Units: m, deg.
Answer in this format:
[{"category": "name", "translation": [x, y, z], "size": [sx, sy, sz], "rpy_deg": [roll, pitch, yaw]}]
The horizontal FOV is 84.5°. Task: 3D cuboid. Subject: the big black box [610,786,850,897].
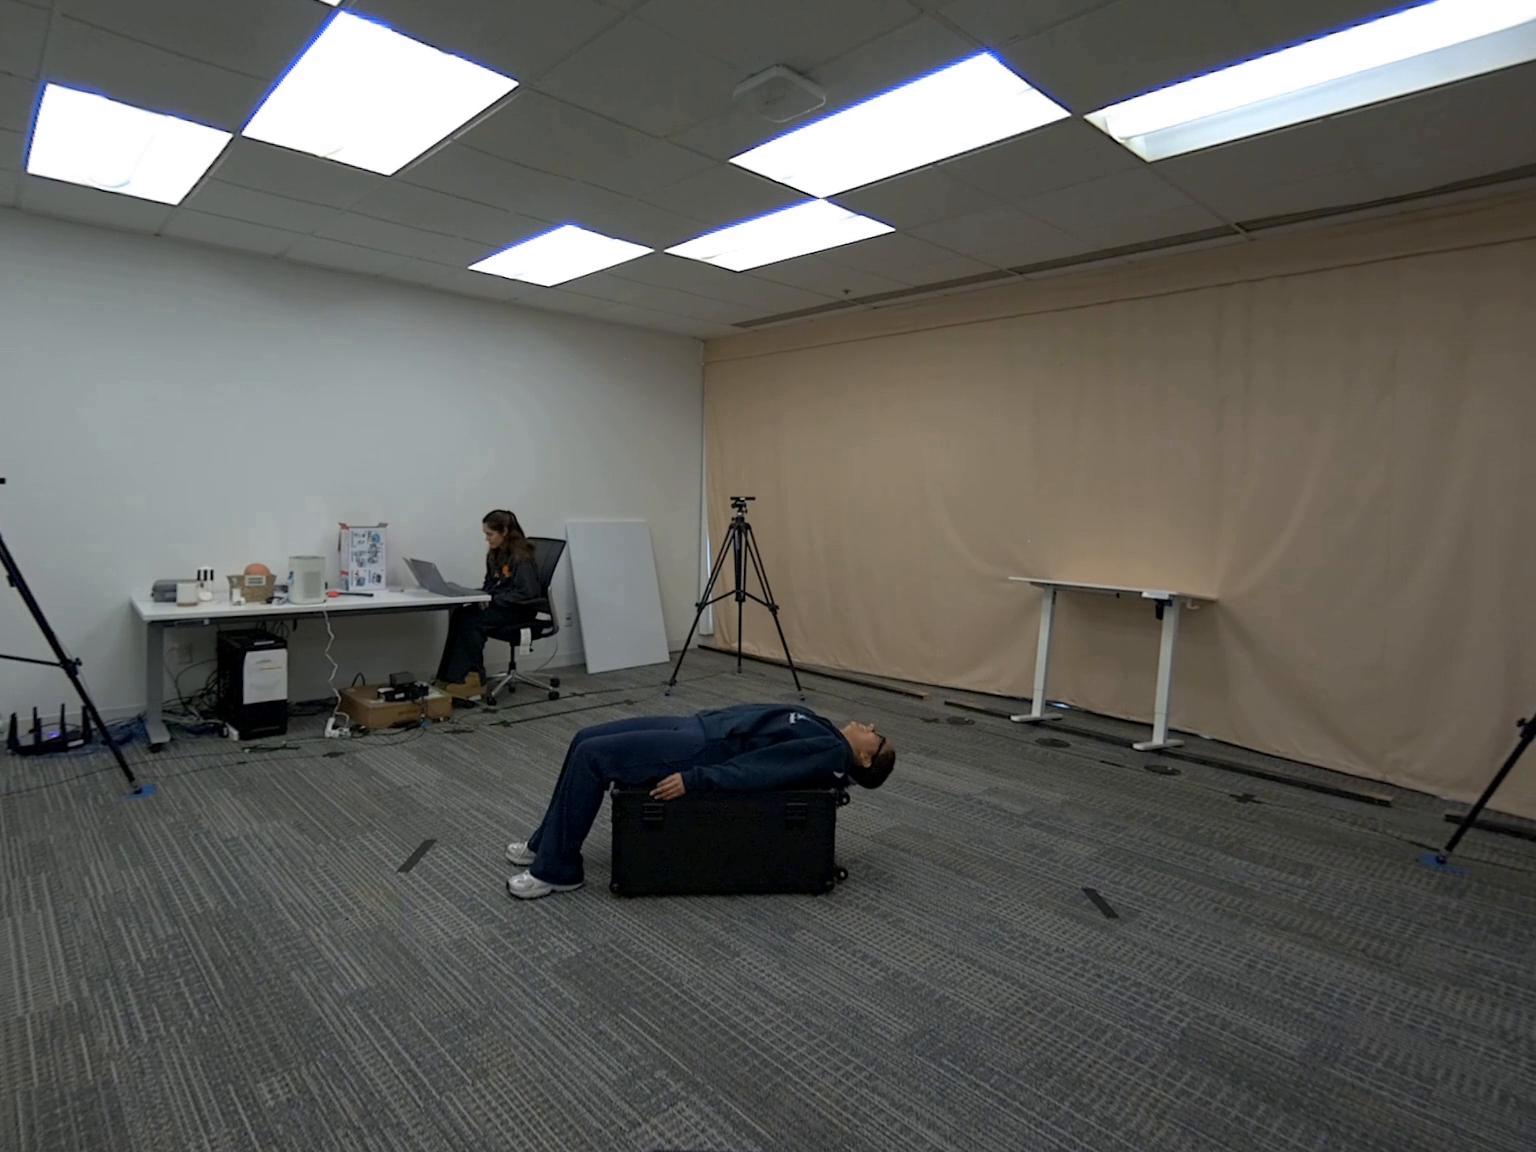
[{"category": "big black box", "translation": [-0.149, 0.911, 3.159], "size": [0.857, 0.395, 0.525], "rpy_deg": [0, 3, -6]}]
